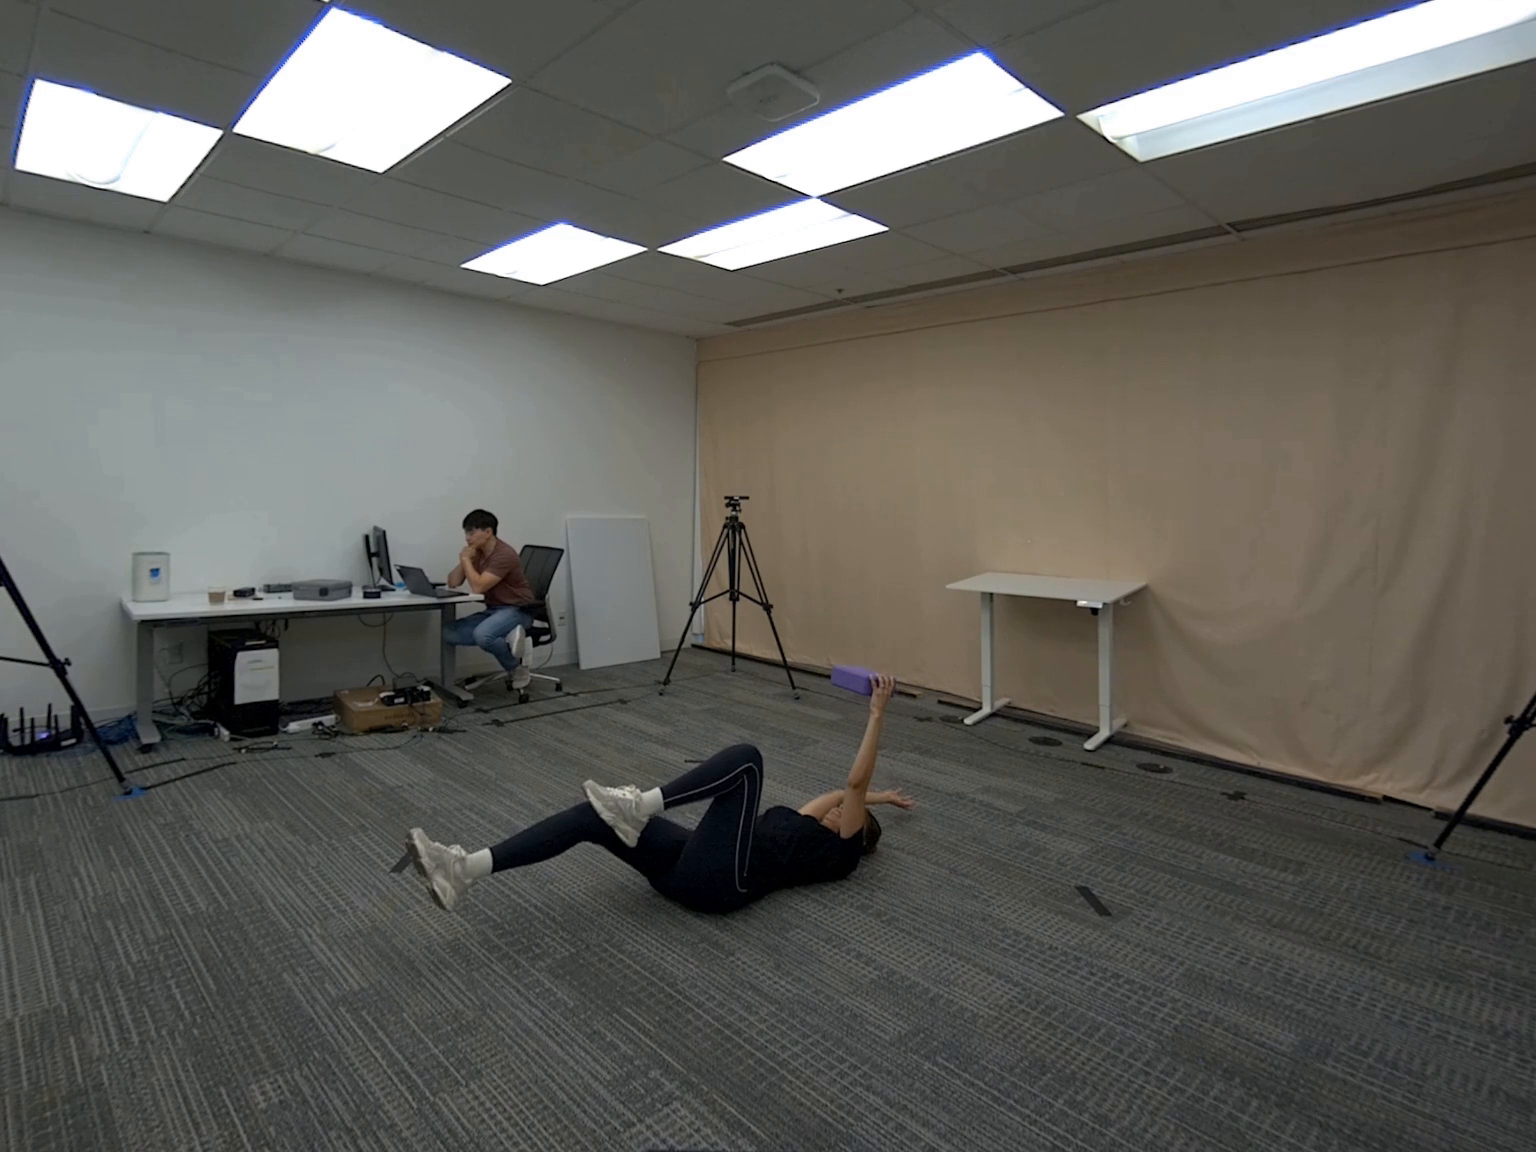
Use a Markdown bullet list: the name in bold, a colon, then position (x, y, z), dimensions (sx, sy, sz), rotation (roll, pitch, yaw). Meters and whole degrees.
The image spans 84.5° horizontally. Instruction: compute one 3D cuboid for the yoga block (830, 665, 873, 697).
- **yoga block**: position (0.371, 0.405, 3.229), dimensions (0.146, 0.076, 0.234), rotation (6, 2, -26)
